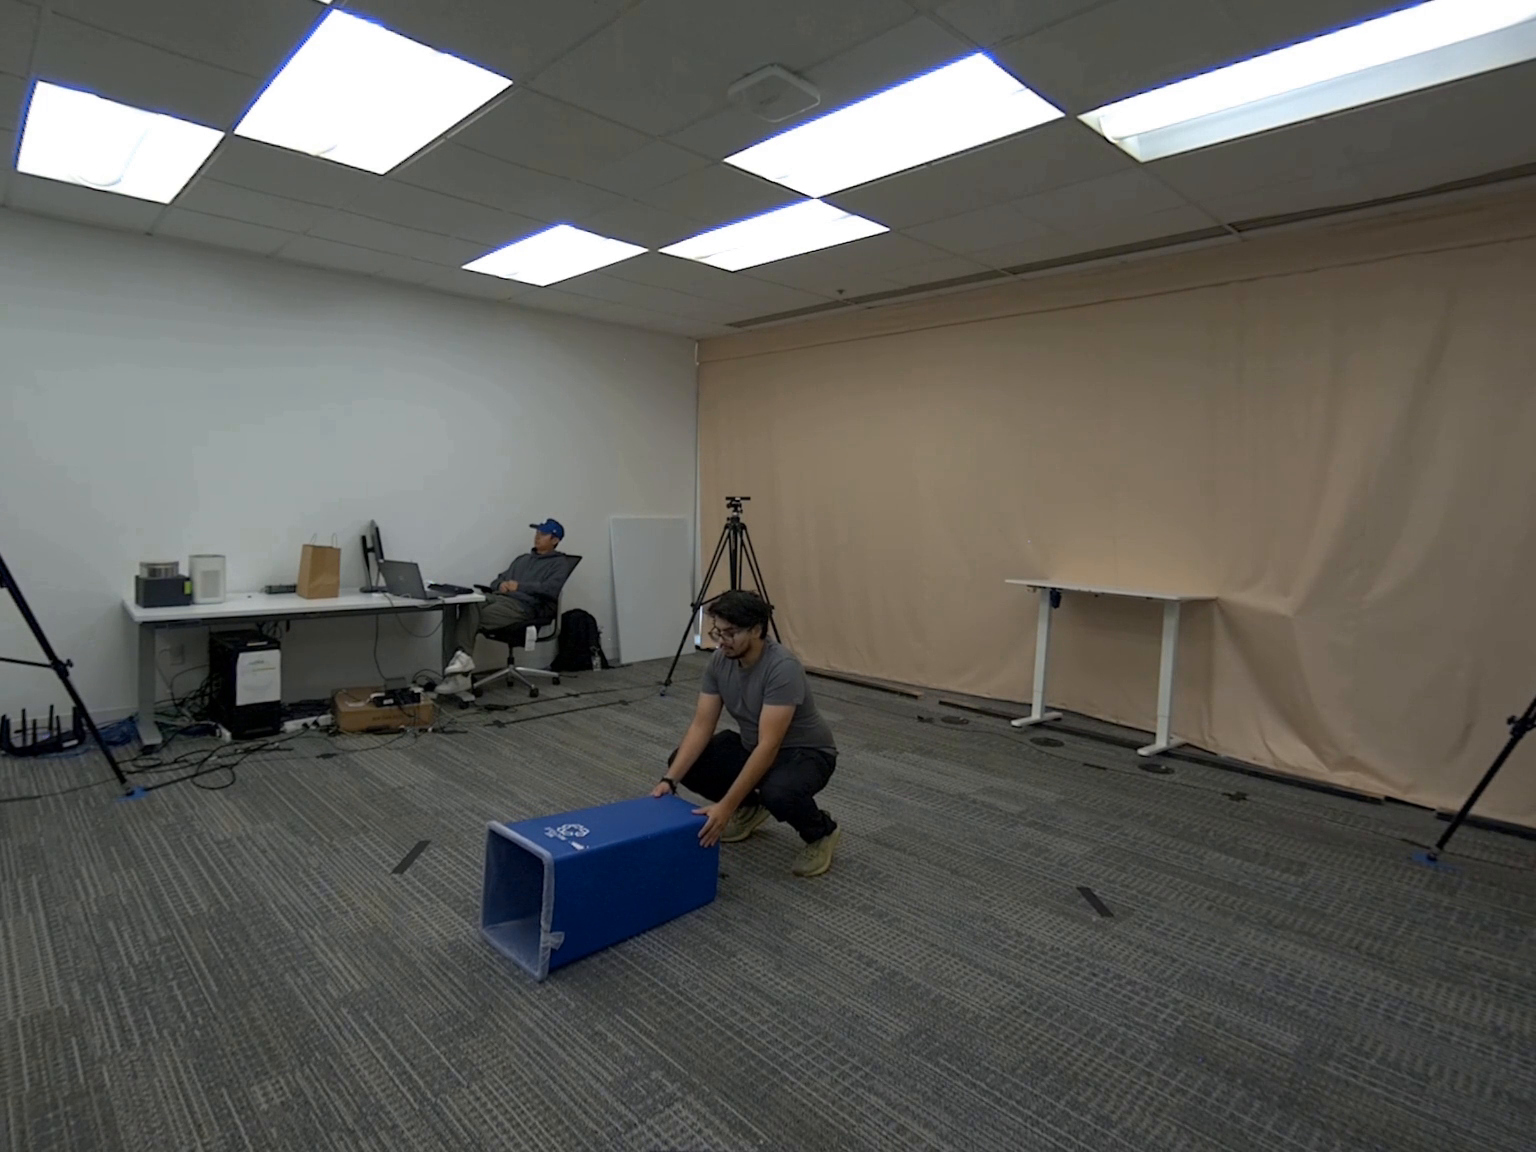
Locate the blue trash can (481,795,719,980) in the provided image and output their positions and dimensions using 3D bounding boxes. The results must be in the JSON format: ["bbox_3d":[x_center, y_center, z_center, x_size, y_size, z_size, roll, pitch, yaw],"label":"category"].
[{"bbox_3d":[-0.533,0.966,2.755,0.384,0.378,0.696,5,3,44],"label":"blue trash can"}]
